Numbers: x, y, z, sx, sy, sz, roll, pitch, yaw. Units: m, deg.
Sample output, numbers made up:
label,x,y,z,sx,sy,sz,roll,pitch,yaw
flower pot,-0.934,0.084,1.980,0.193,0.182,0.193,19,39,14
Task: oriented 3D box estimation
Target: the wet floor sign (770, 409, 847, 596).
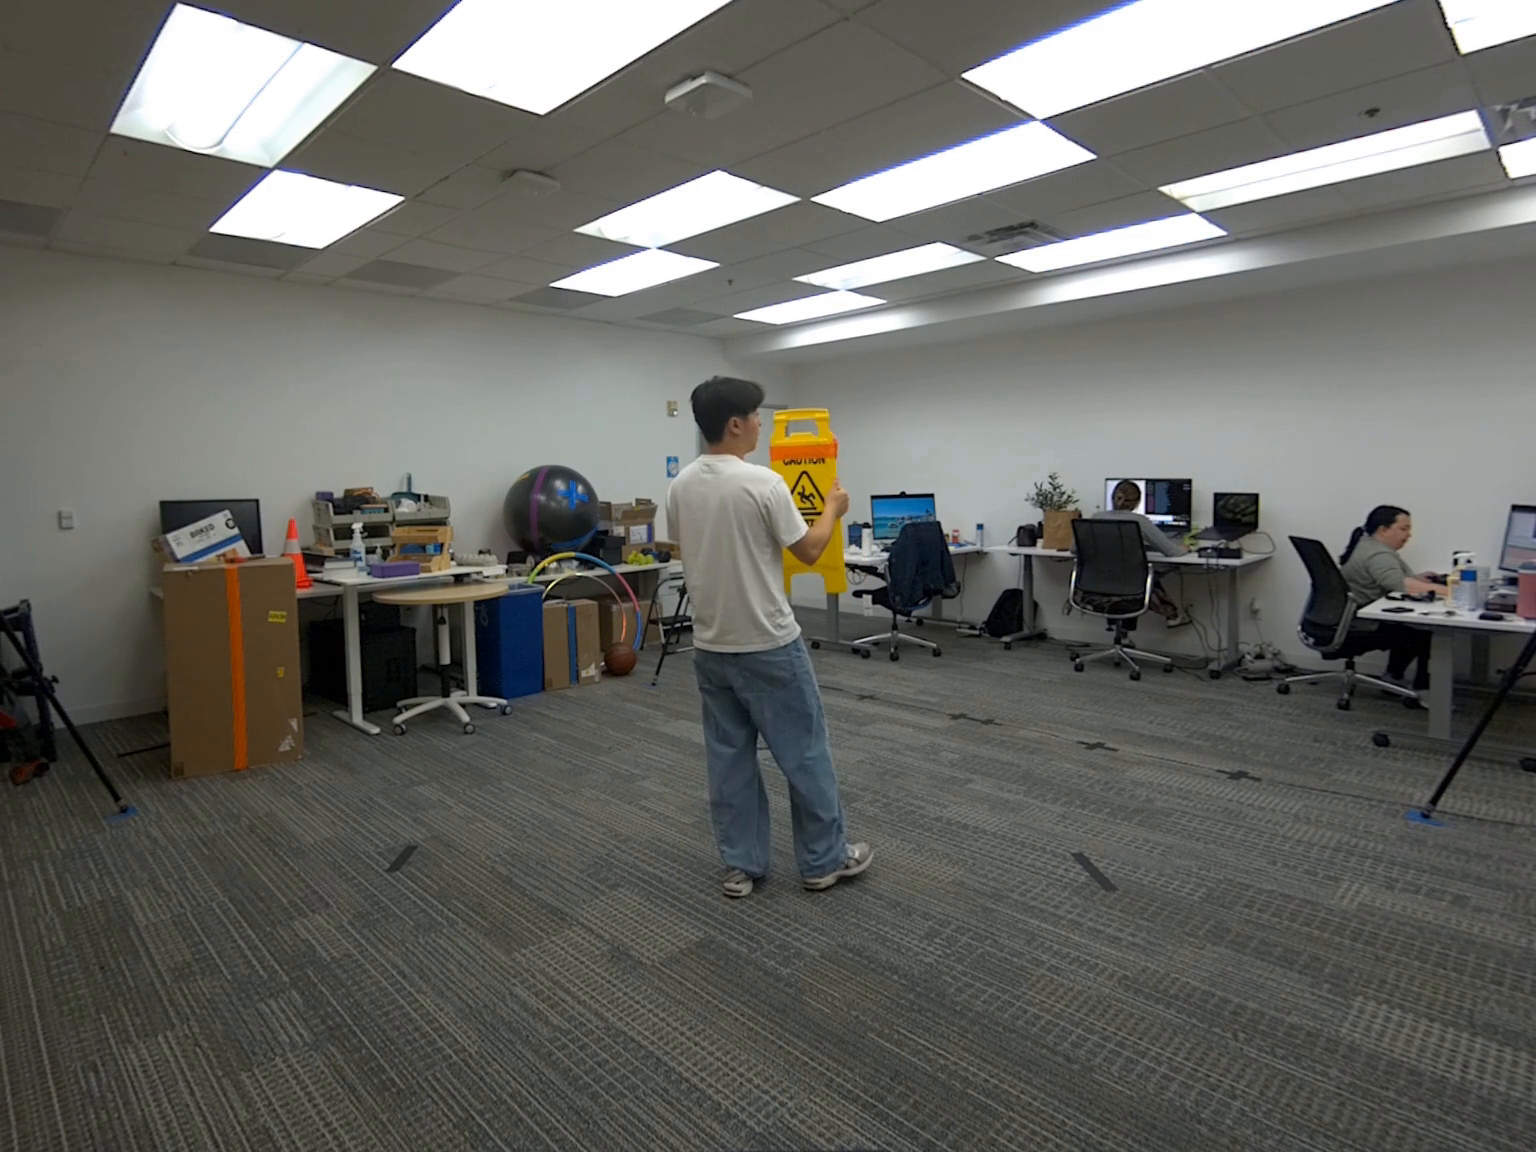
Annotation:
label,x,y,z,sx,sy,sz,roll,pitch,yaw
wet floor sign,0.138,-0.281,3.129,0.283,0.639,0.292,-3,11,2
